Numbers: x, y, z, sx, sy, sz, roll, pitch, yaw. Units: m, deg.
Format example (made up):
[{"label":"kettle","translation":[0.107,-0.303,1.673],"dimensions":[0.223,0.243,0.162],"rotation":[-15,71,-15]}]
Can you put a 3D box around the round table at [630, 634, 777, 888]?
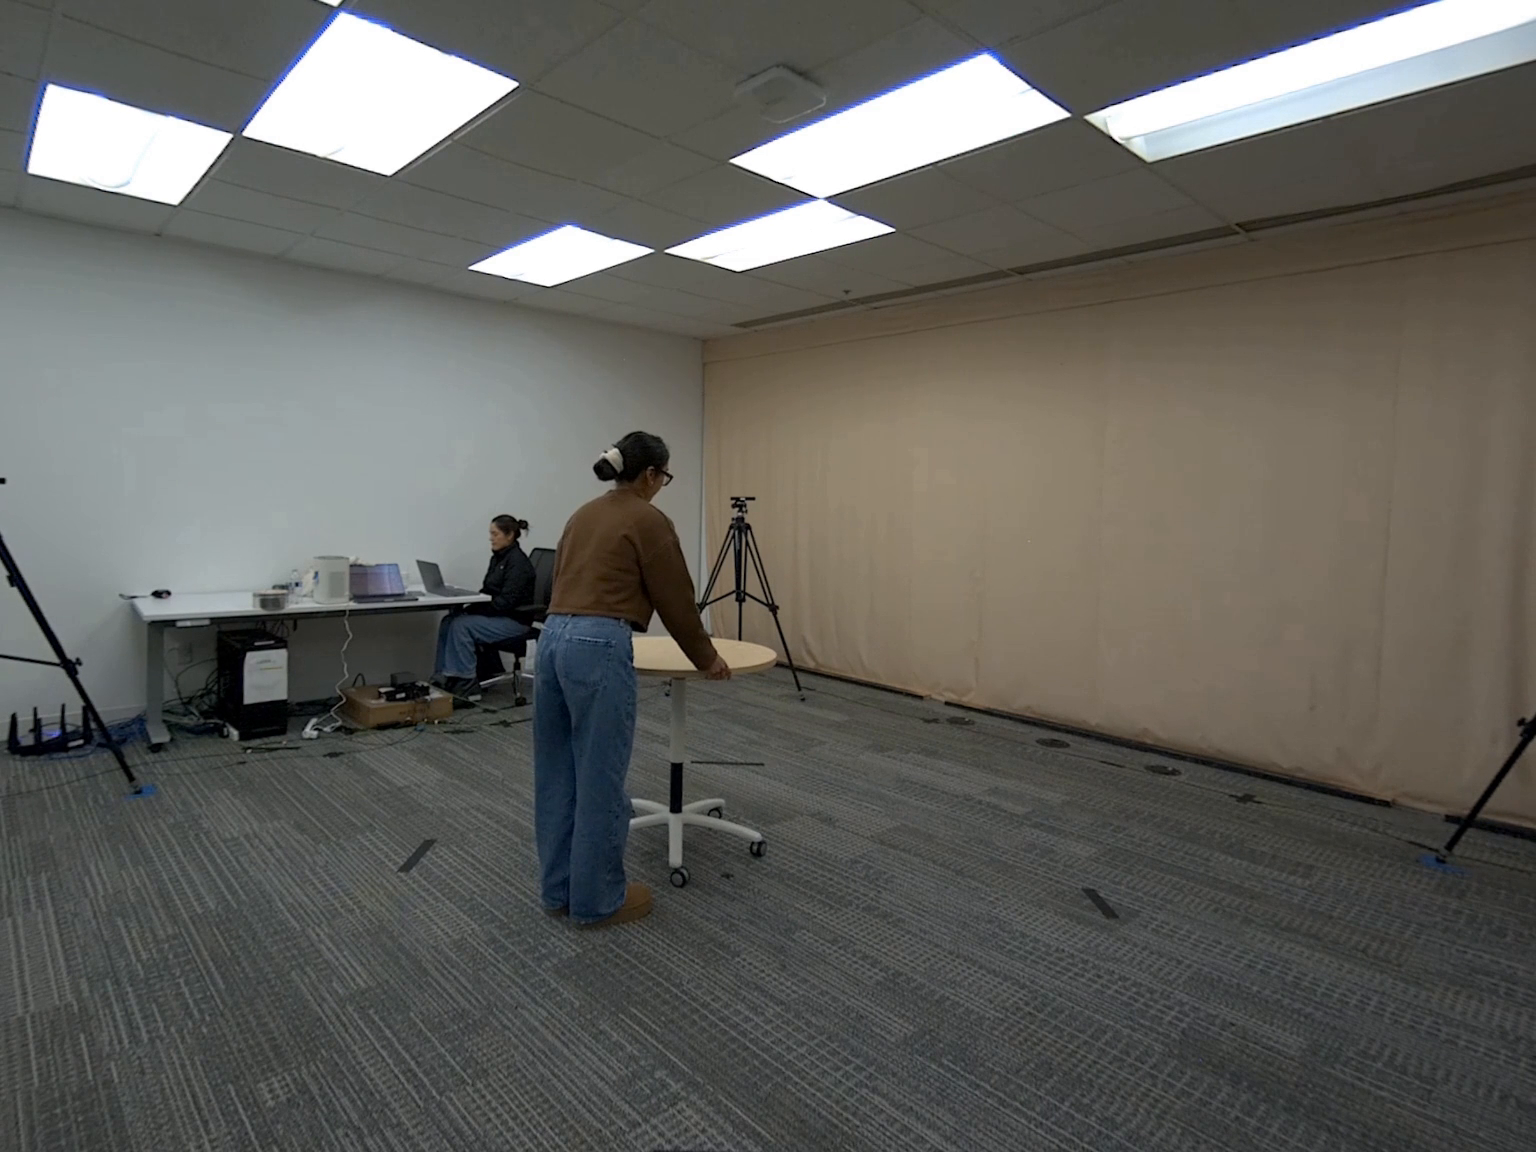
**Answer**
[{"label":"round table","translation":[-0.360,0.692,3.334],"dimensions":[0.763,0.792,0.766],"rotation":[2,4,-1]}]
